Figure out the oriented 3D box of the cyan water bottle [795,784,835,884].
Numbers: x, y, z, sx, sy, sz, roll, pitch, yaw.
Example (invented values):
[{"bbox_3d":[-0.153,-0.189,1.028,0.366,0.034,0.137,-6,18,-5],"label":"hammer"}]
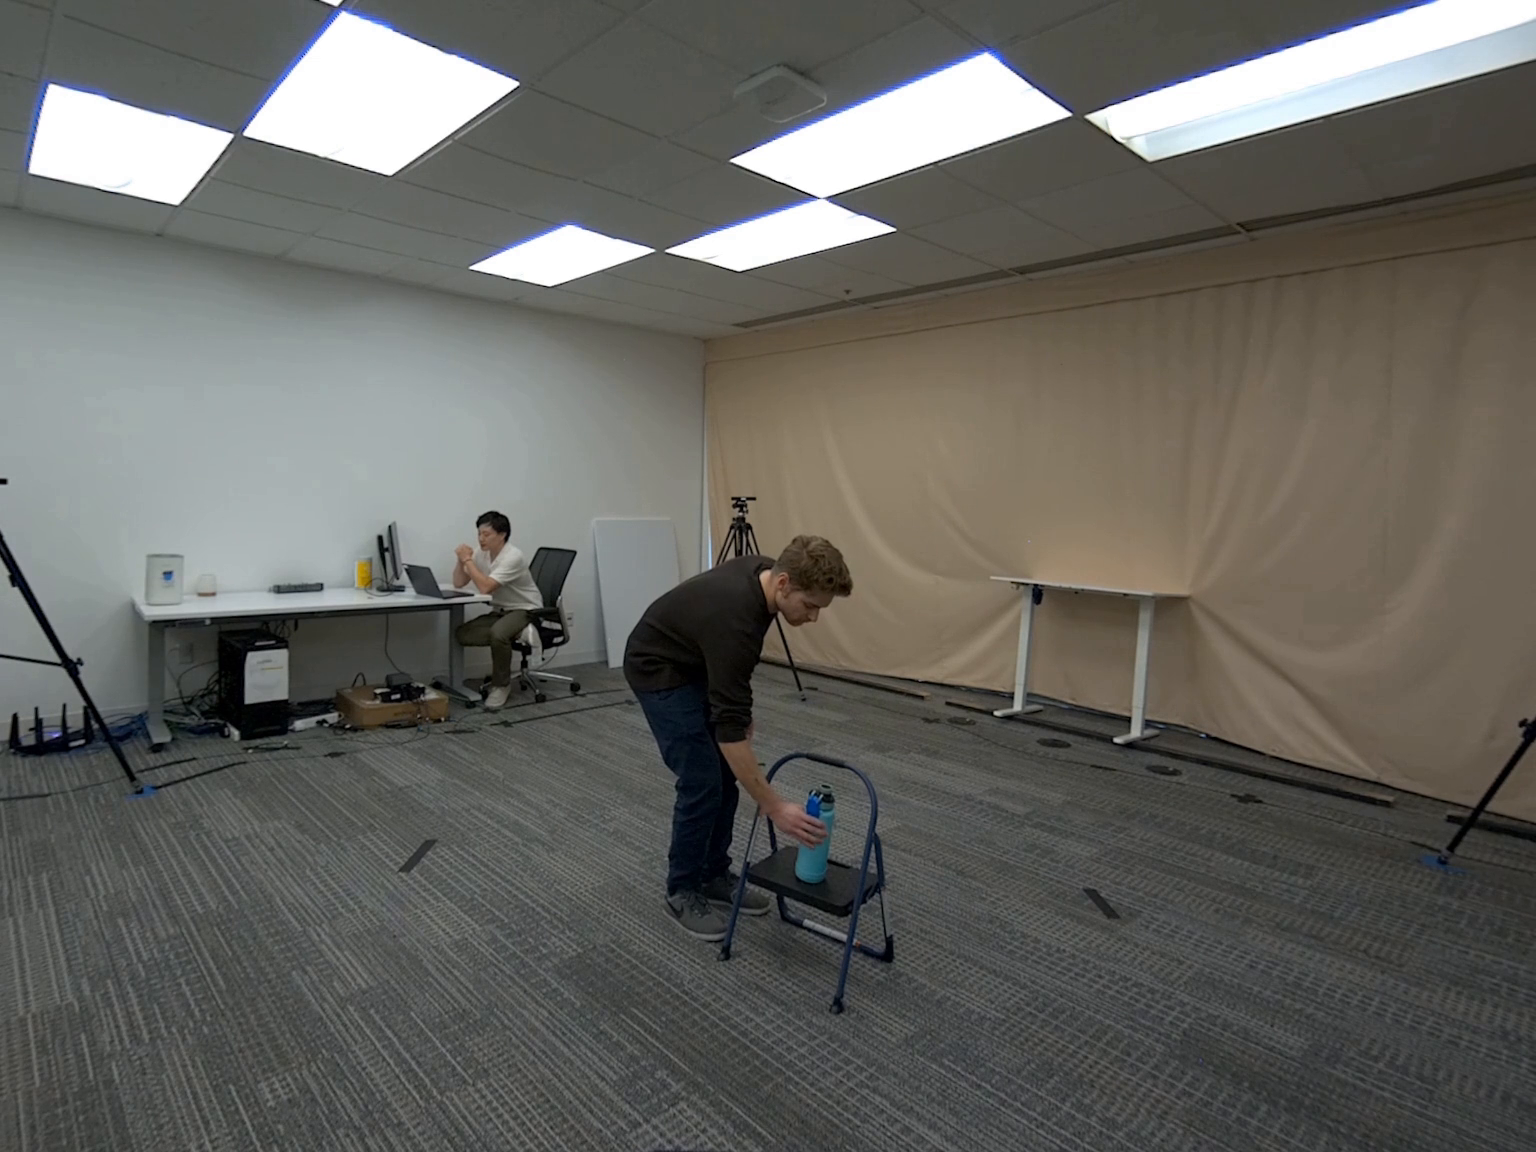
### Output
[{"bbox_3d":[0.133,0.766,2.495,0.092,0.281,0.093,5,11,-2],"label":"cyan water bottle"}]
